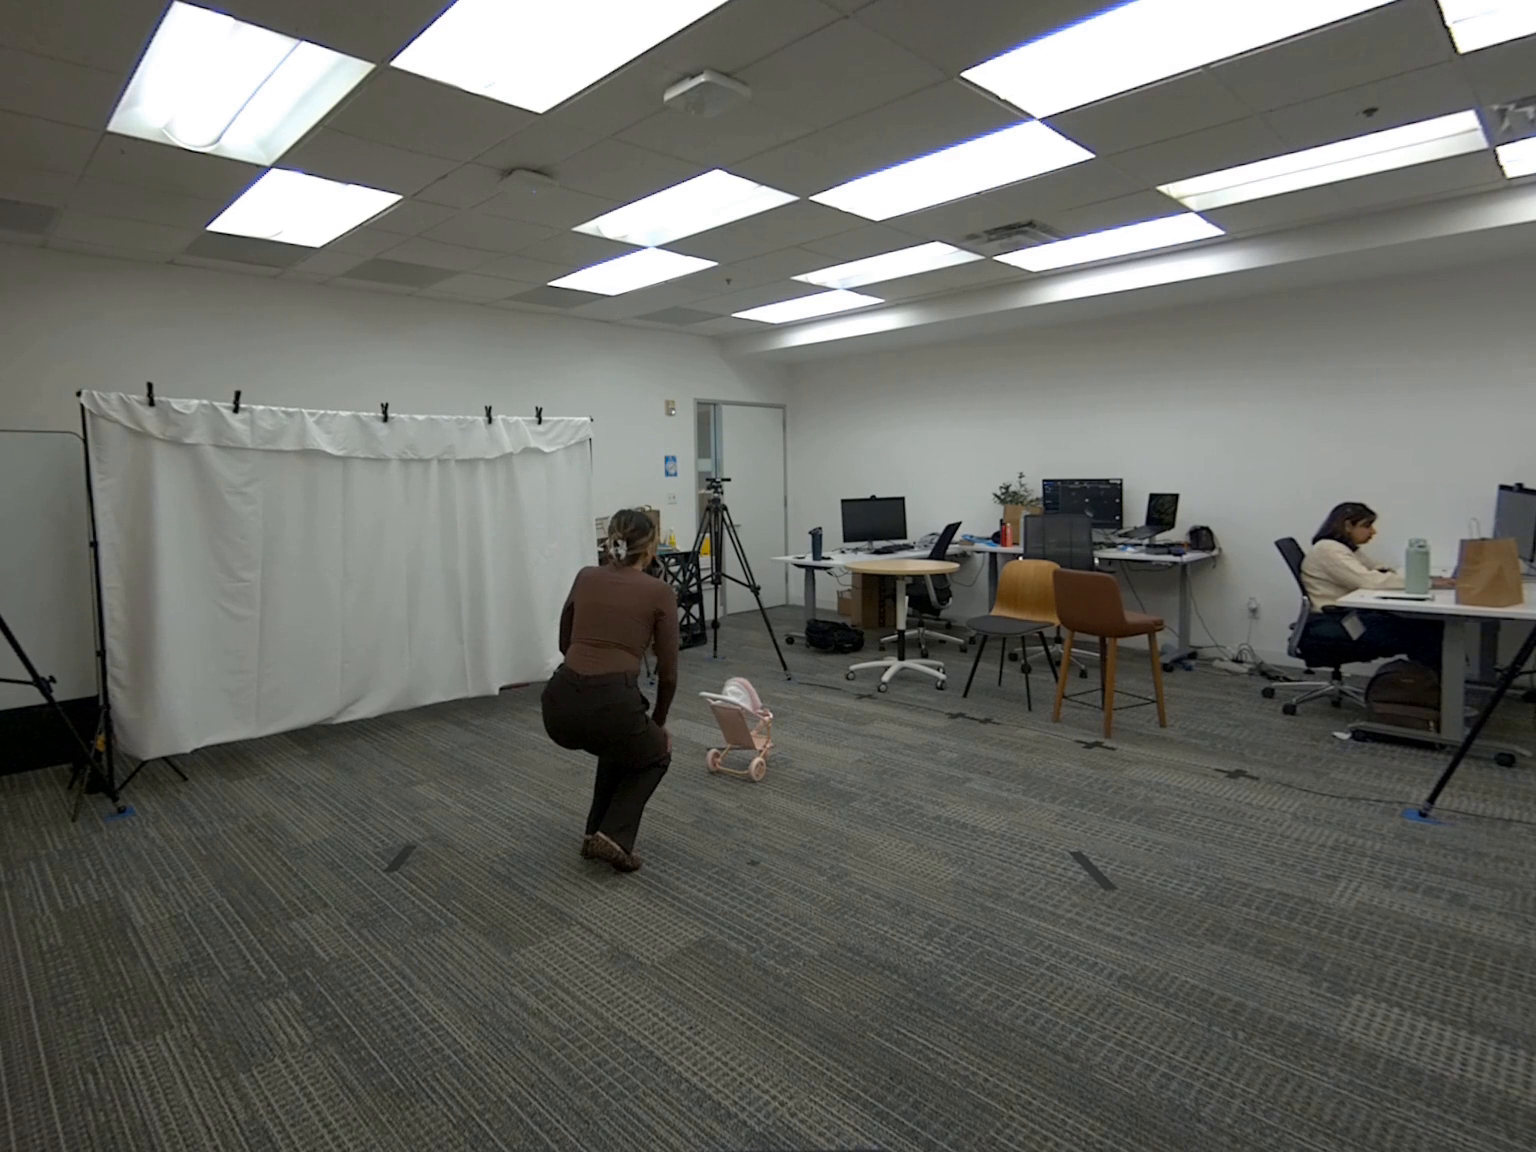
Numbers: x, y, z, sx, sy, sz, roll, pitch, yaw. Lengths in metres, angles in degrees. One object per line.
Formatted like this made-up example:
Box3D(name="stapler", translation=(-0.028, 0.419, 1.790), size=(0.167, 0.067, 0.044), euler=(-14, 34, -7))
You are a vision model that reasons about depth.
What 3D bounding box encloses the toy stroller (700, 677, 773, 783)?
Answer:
Box3D(name="toy stroller", translation=(-0.121, 0.714, 4.058), size=(0.290, 0.525, 0.337), euler=(3, 23, 38))
